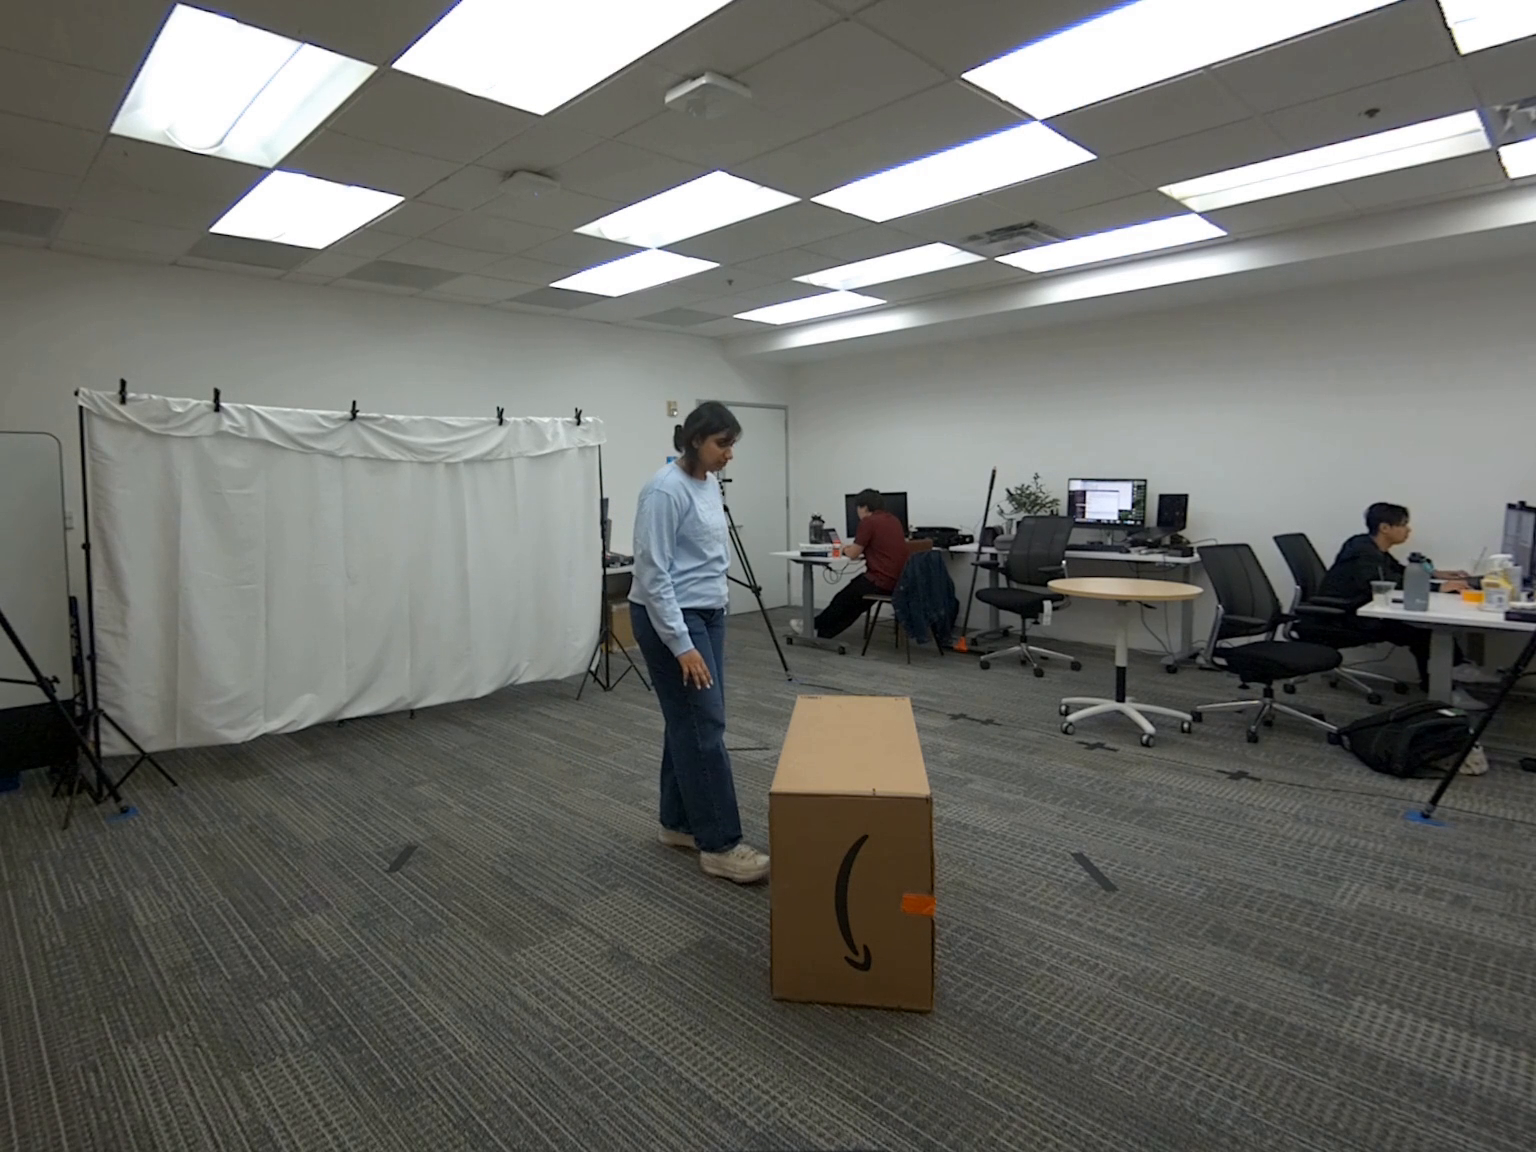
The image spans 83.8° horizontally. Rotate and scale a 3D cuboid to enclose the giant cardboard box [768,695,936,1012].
[{"bbox_3d":[0.276,0.790,2.727,0.430,0.575,1.021,0,5,7],"label":"giant cardboard box"}]
